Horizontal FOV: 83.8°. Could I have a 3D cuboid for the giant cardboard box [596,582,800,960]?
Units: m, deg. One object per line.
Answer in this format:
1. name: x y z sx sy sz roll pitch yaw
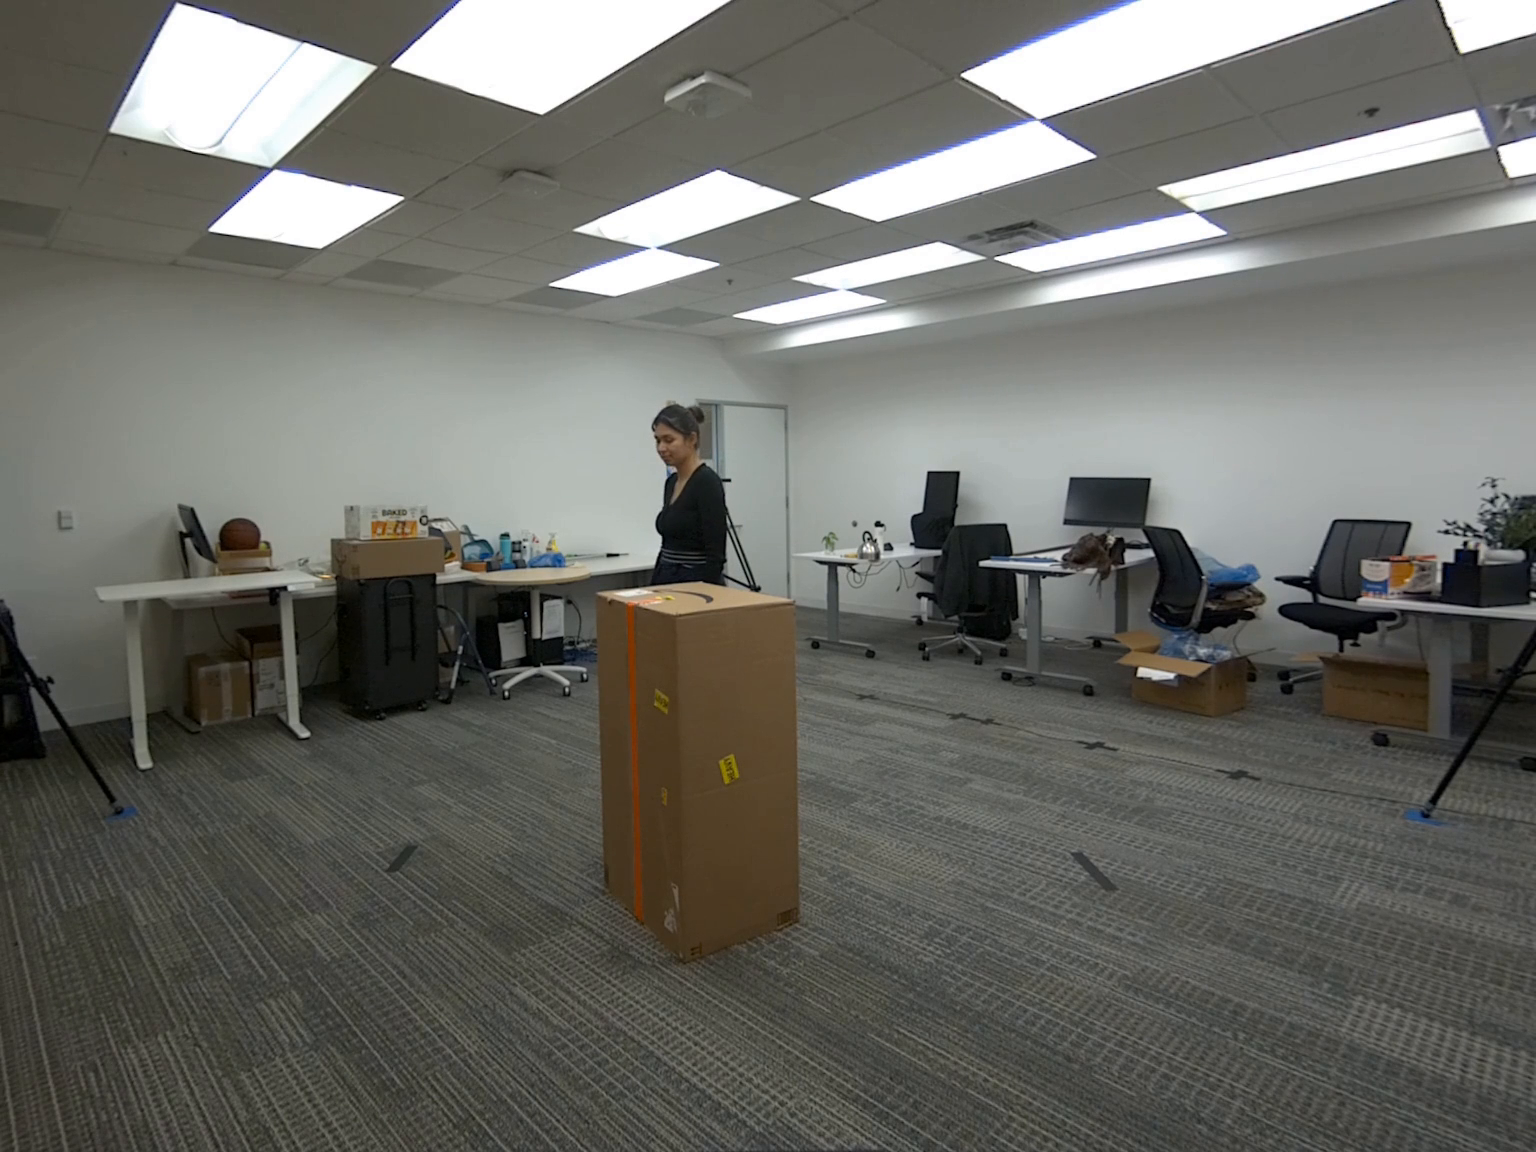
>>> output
1. giant cardboard box: -0.237 0.577 2.781 0.416 1.022 0.594 -4 6 -34
